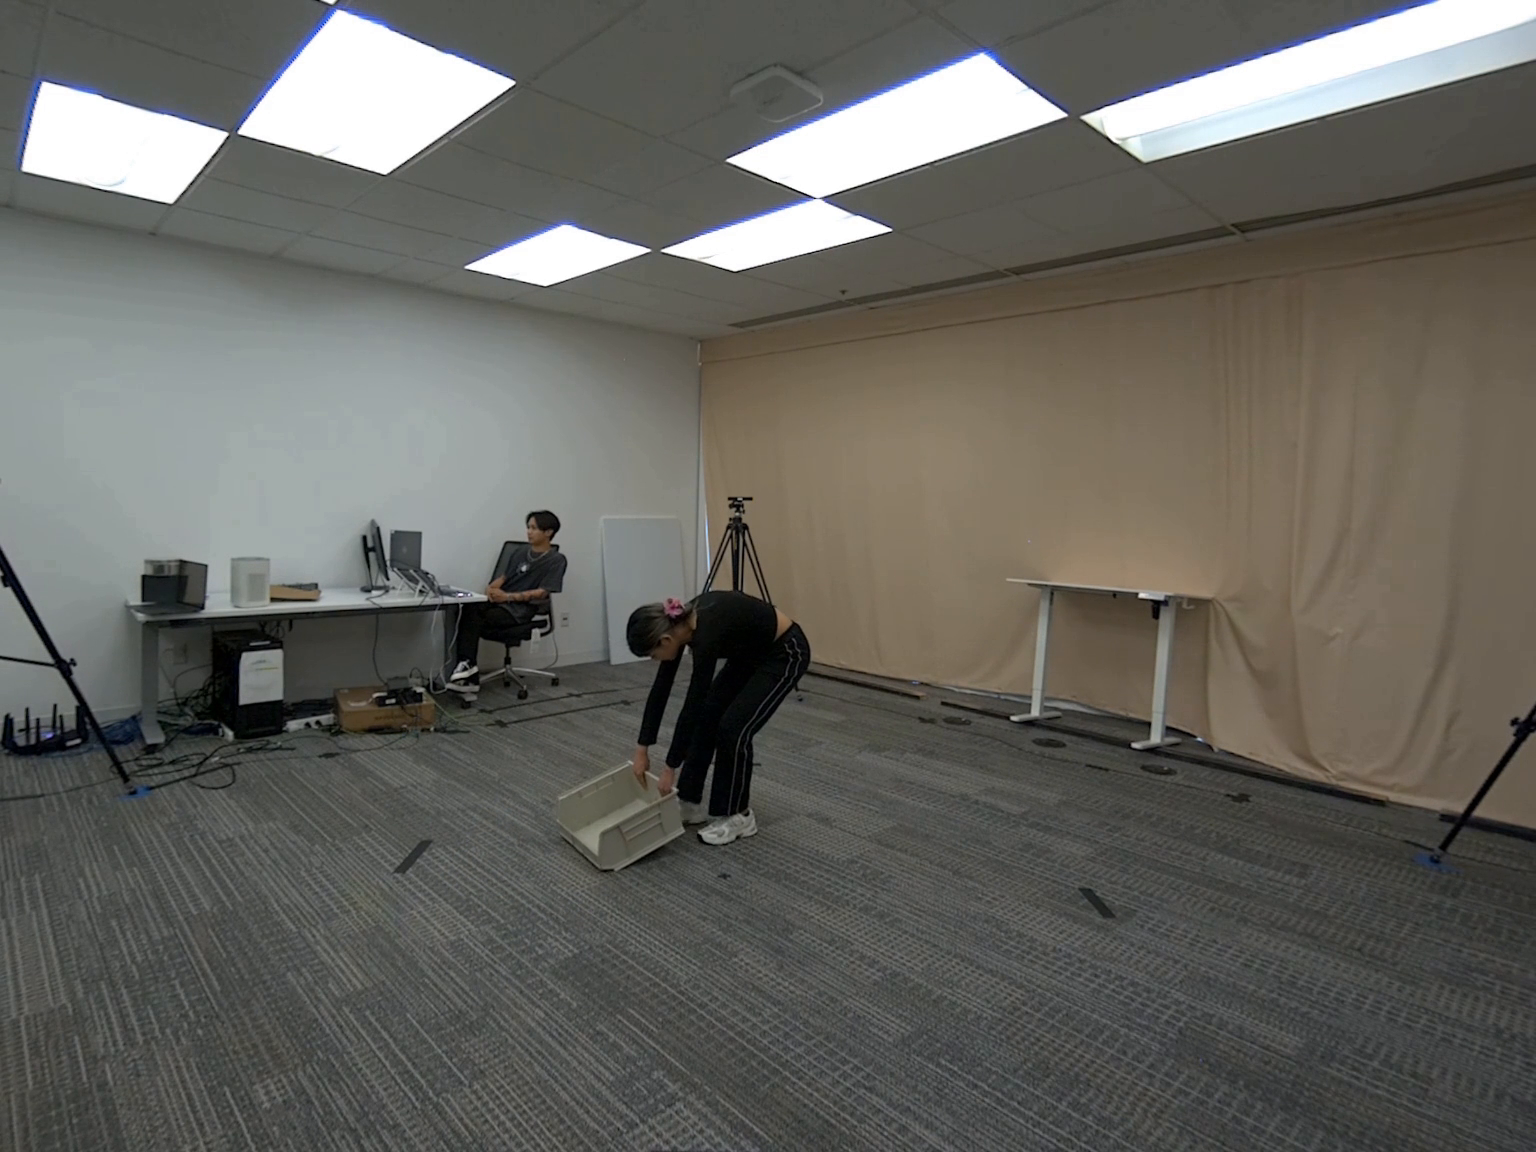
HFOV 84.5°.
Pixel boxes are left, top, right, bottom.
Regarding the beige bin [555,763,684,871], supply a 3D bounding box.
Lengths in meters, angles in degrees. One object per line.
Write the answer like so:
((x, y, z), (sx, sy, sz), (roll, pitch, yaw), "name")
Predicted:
((-0.602, 0.949, 3.335), (0.372, 0.187, 0.433), (-20, 16, -33), "beige bin")
